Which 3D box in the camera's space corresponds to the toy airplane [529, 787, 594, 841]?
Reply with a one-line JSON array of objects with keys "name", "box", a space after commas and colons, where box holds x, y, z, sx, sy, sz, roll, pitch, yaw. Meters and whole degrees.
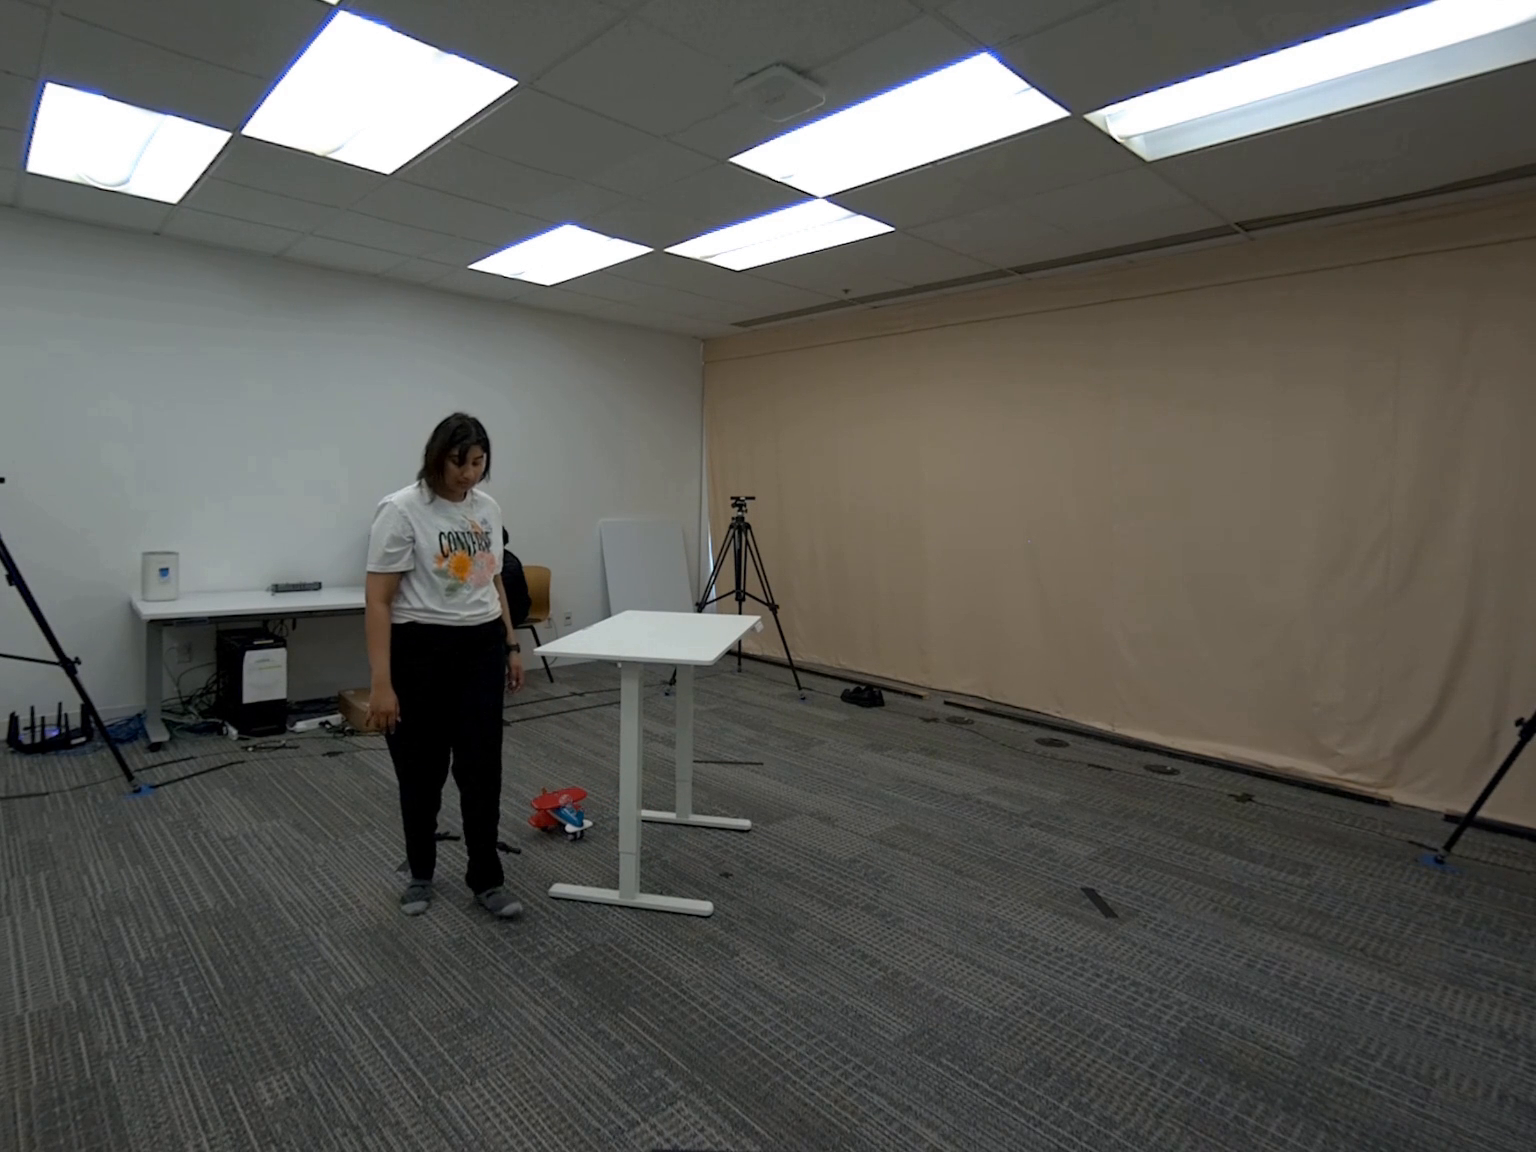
[{"name": "toy airplane", "box": [-0.844, 0.983, 3.471, 0.262, 0.156, 0.249, 1, 4, 15]}]
